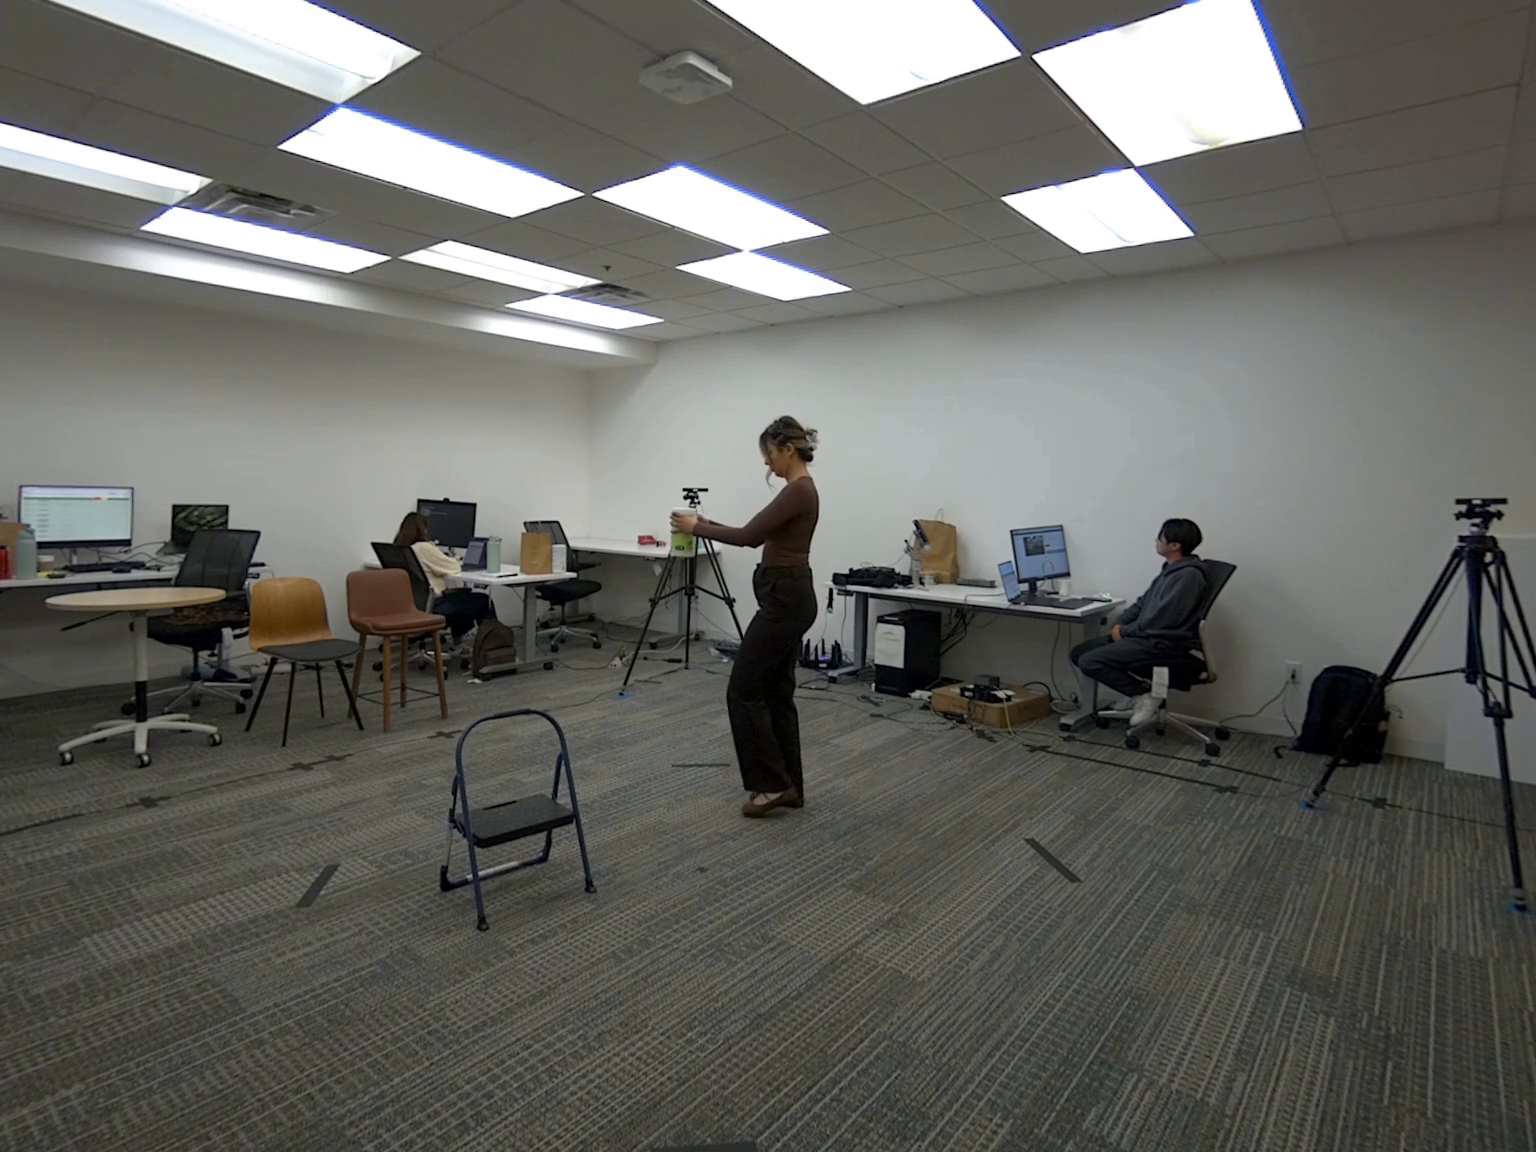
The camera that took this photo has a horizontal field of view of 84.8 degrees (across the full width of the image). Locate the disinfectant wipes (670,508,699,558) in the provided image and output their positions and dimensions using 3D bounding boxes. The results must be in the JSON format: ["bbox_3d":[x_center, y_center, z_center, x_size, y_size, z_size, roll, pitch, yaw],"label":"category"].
[{"bbox_3d":[-0.375,-0.197,3.763,0.118,0.217,0.118,1,2,-2],"label":"disinfectant wipes"}]
